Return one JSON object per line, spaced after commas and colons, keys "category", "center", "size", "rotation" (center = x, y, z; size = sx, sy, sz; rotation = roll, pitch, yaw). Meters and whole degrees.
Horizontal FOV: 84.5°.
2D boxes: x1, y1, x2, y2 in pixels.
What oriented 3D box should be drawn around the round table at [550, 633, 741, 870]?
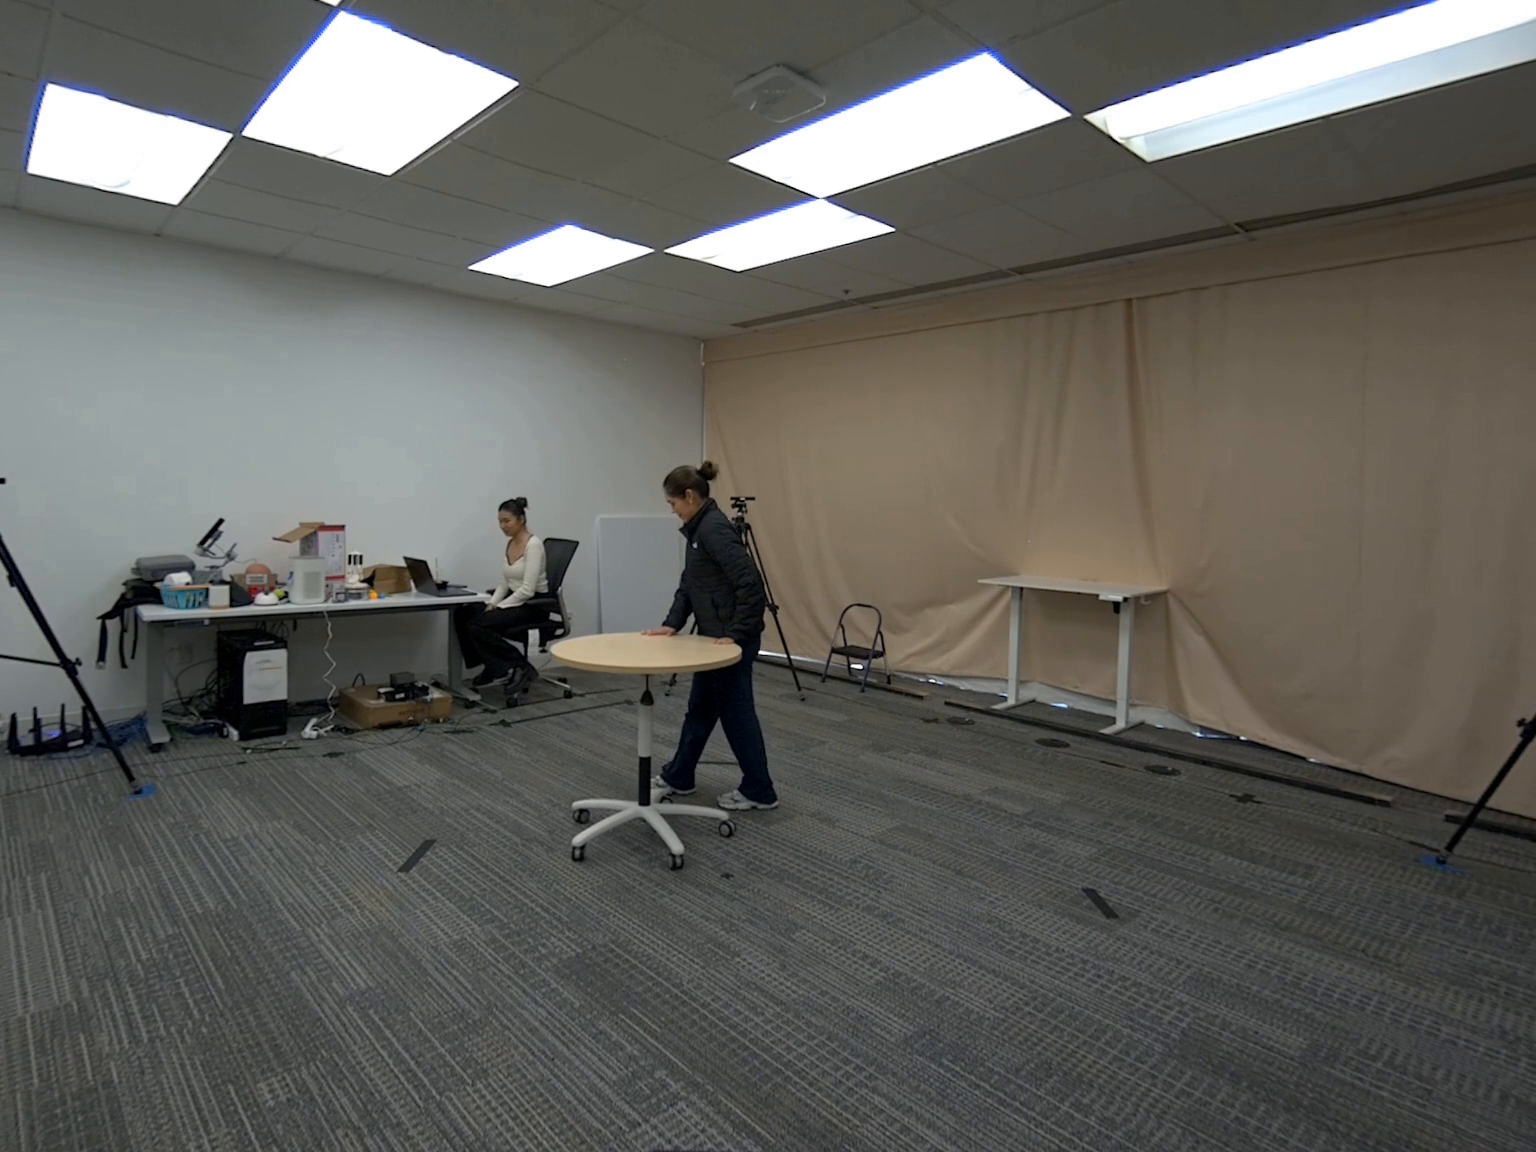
{"category": "round table", "center": [-0.498, 0.680, 3.407], "size": [0.784, 0.784, 0.788], "rotation": [1, 4, -1]}
